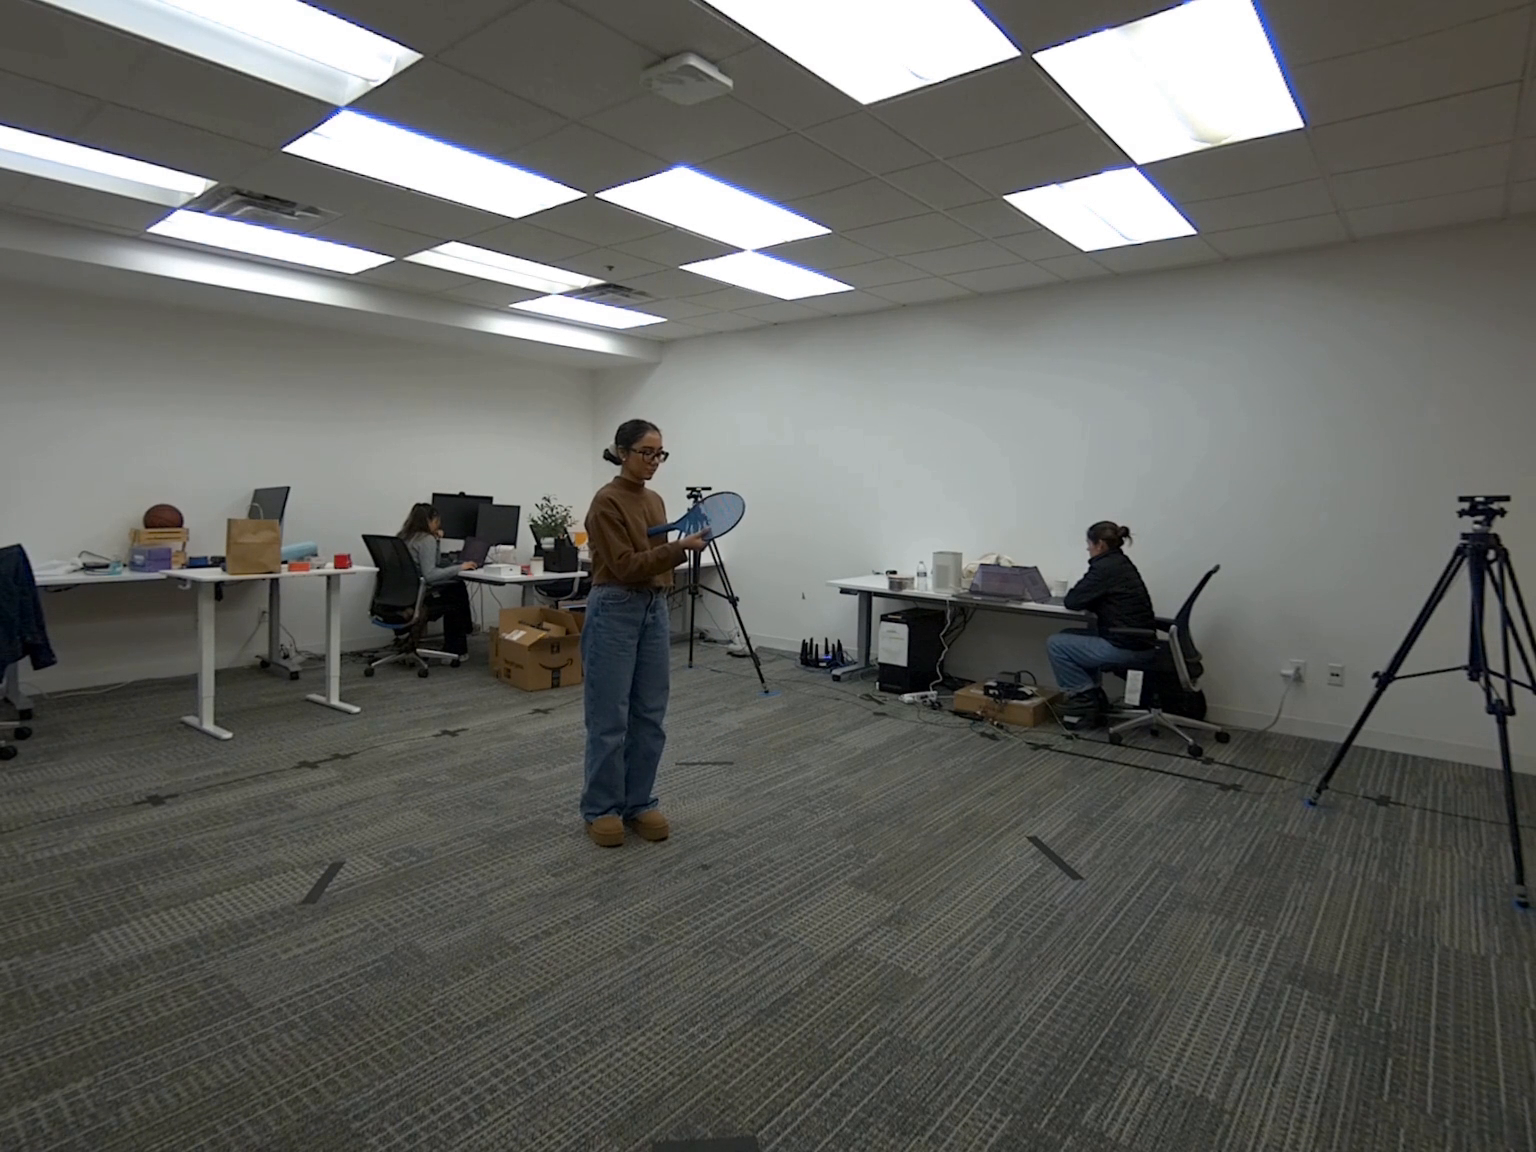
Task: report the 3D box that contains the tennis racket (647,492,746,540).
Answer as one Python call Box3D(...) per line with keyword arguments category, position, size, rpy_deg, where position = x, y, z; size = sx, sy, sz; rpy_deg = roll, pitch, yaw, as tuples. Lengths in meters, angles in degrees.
Box3D(category="tennis racket", position=(-0.280, -0.214, 3.247), size=(0.442, 0.219, 0.030), rpy_deg=(-12, -35, 27))
